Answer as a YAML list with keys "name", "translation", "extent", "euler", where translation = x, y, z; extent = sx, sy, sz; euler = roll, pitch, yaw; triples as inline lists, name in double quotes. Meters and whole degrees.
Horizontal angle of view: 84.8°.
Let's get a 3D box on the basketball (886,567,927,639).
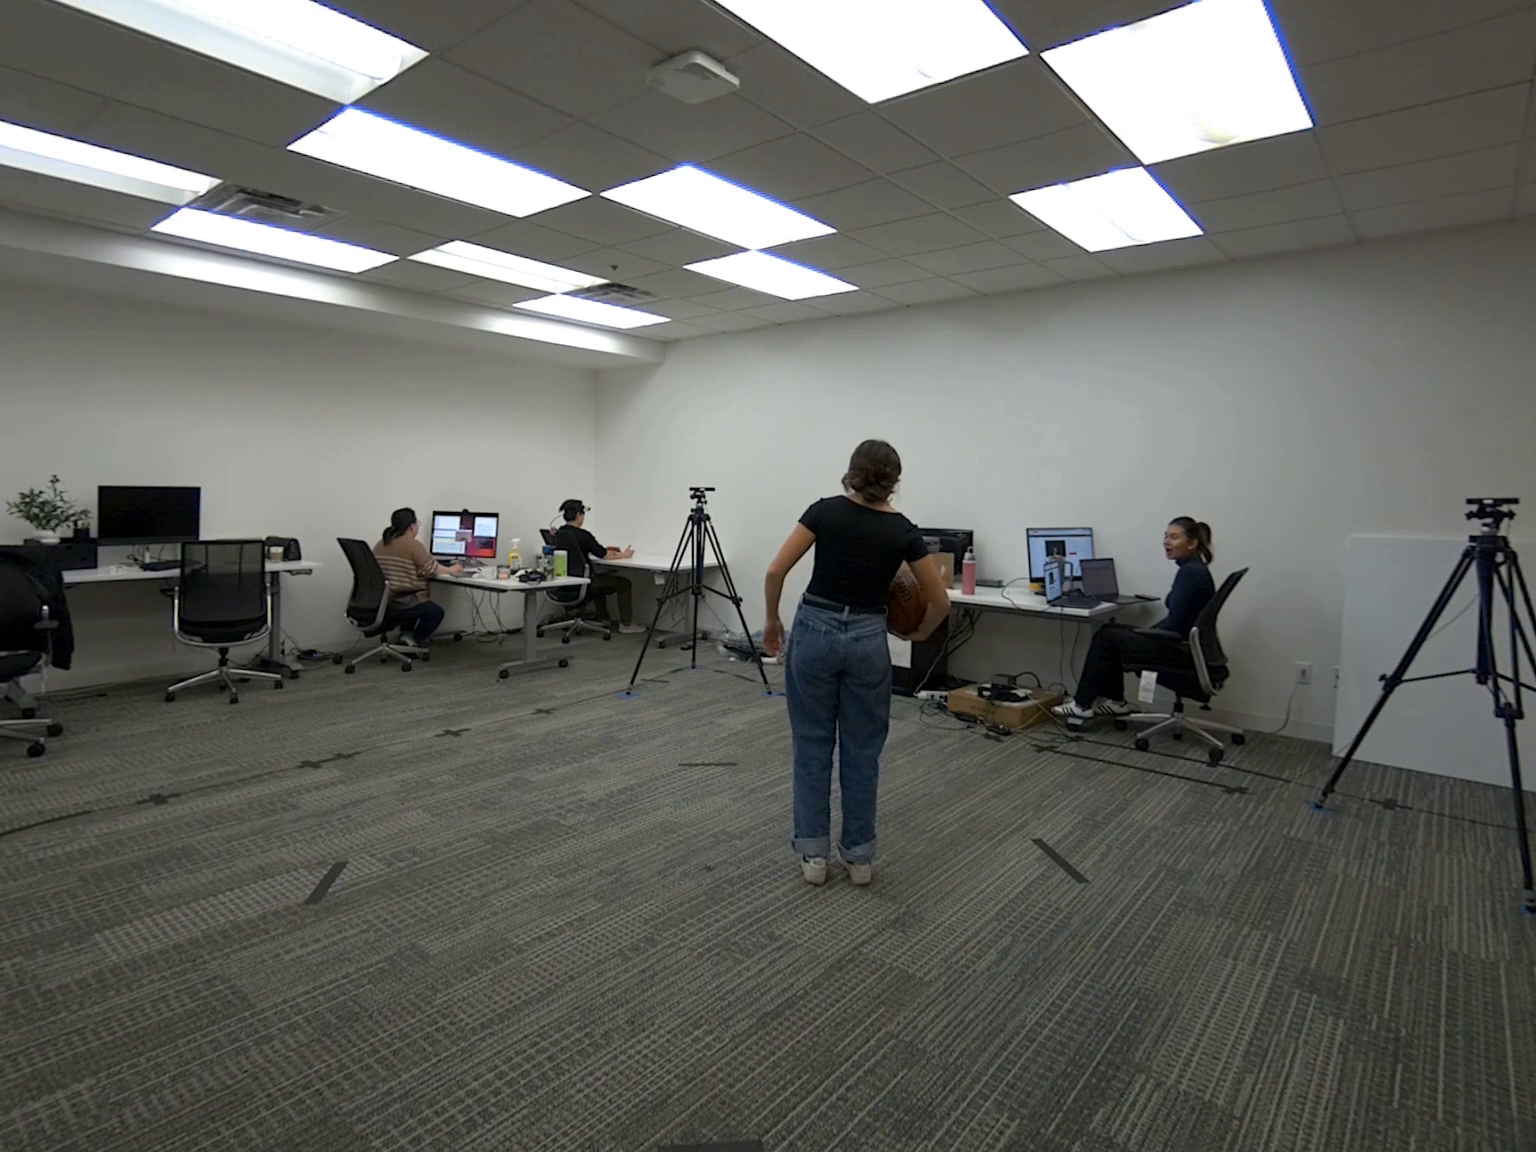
- name: "basketball"
  translation: [0.485, 0.081, 3.211]
  extent: [0.235, 0.235, 0.237]
  euler: [1, 4, -2]
